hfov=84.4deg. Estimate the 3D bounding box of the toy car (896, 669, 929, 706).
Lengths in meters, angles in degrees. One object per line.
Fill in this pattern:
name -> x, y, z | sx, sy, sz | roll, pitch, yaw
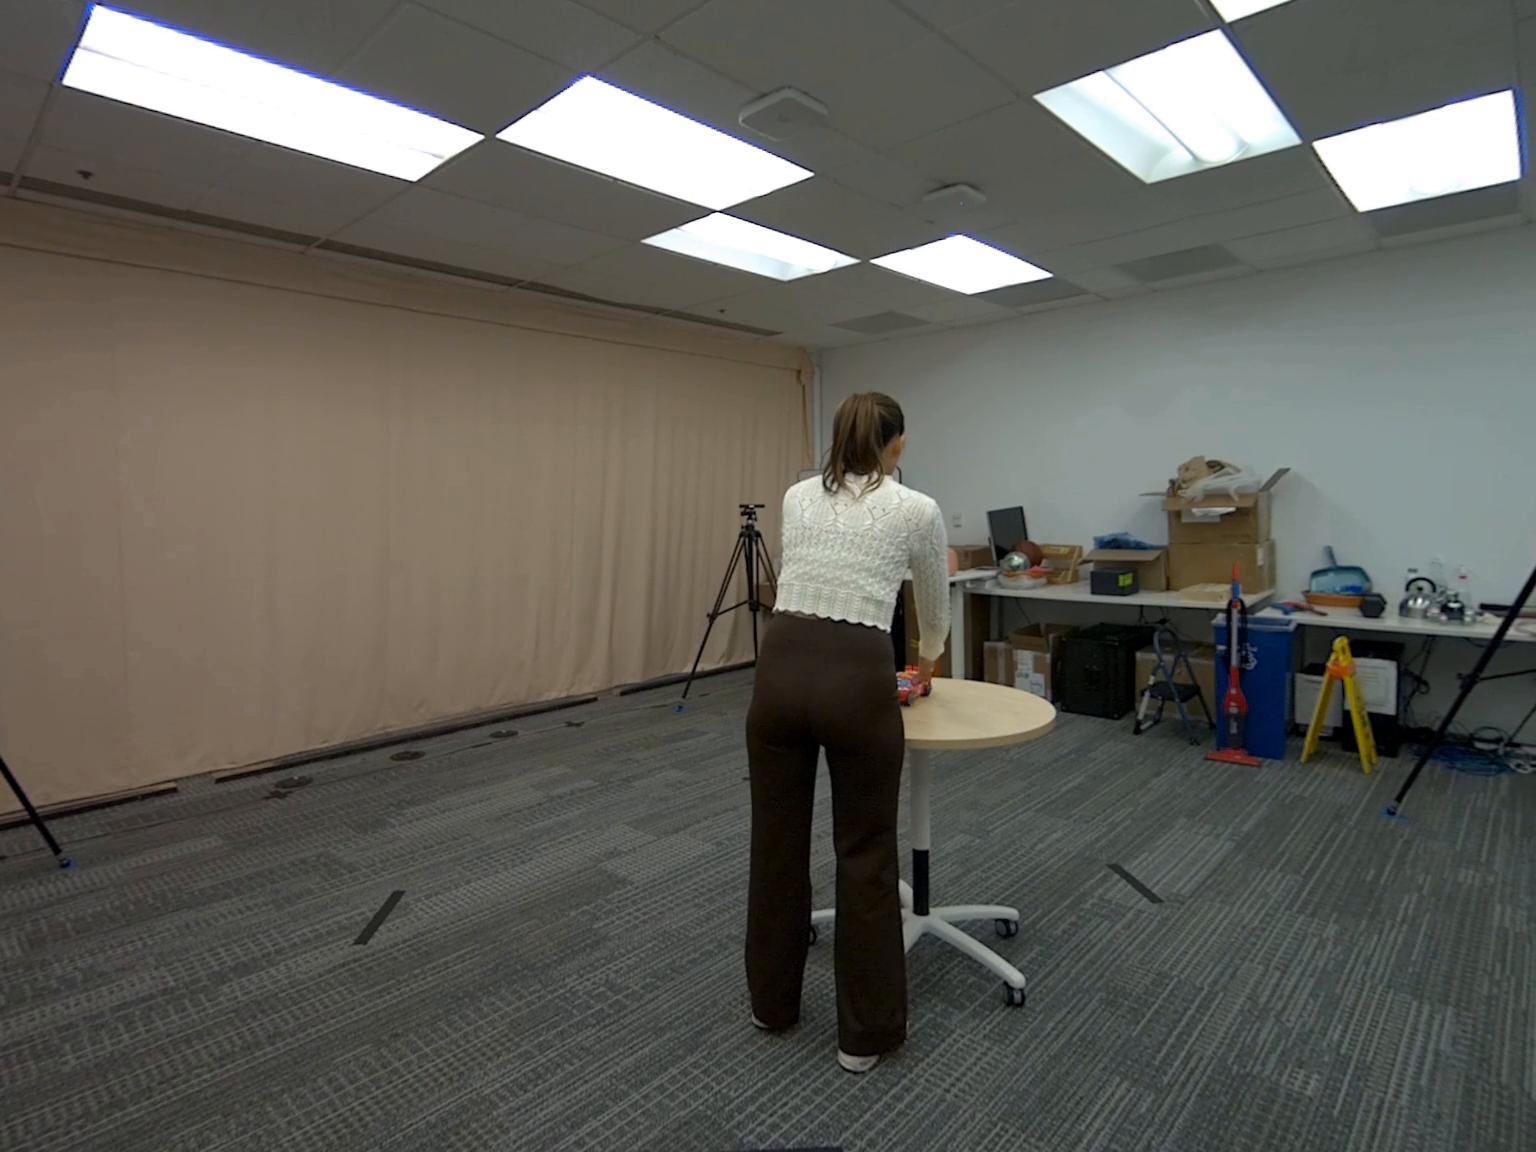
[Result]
toy car -> 0.438, 0.349, 2.612 | 0.134, 0.082, 0.249 | 2, 17, 33
